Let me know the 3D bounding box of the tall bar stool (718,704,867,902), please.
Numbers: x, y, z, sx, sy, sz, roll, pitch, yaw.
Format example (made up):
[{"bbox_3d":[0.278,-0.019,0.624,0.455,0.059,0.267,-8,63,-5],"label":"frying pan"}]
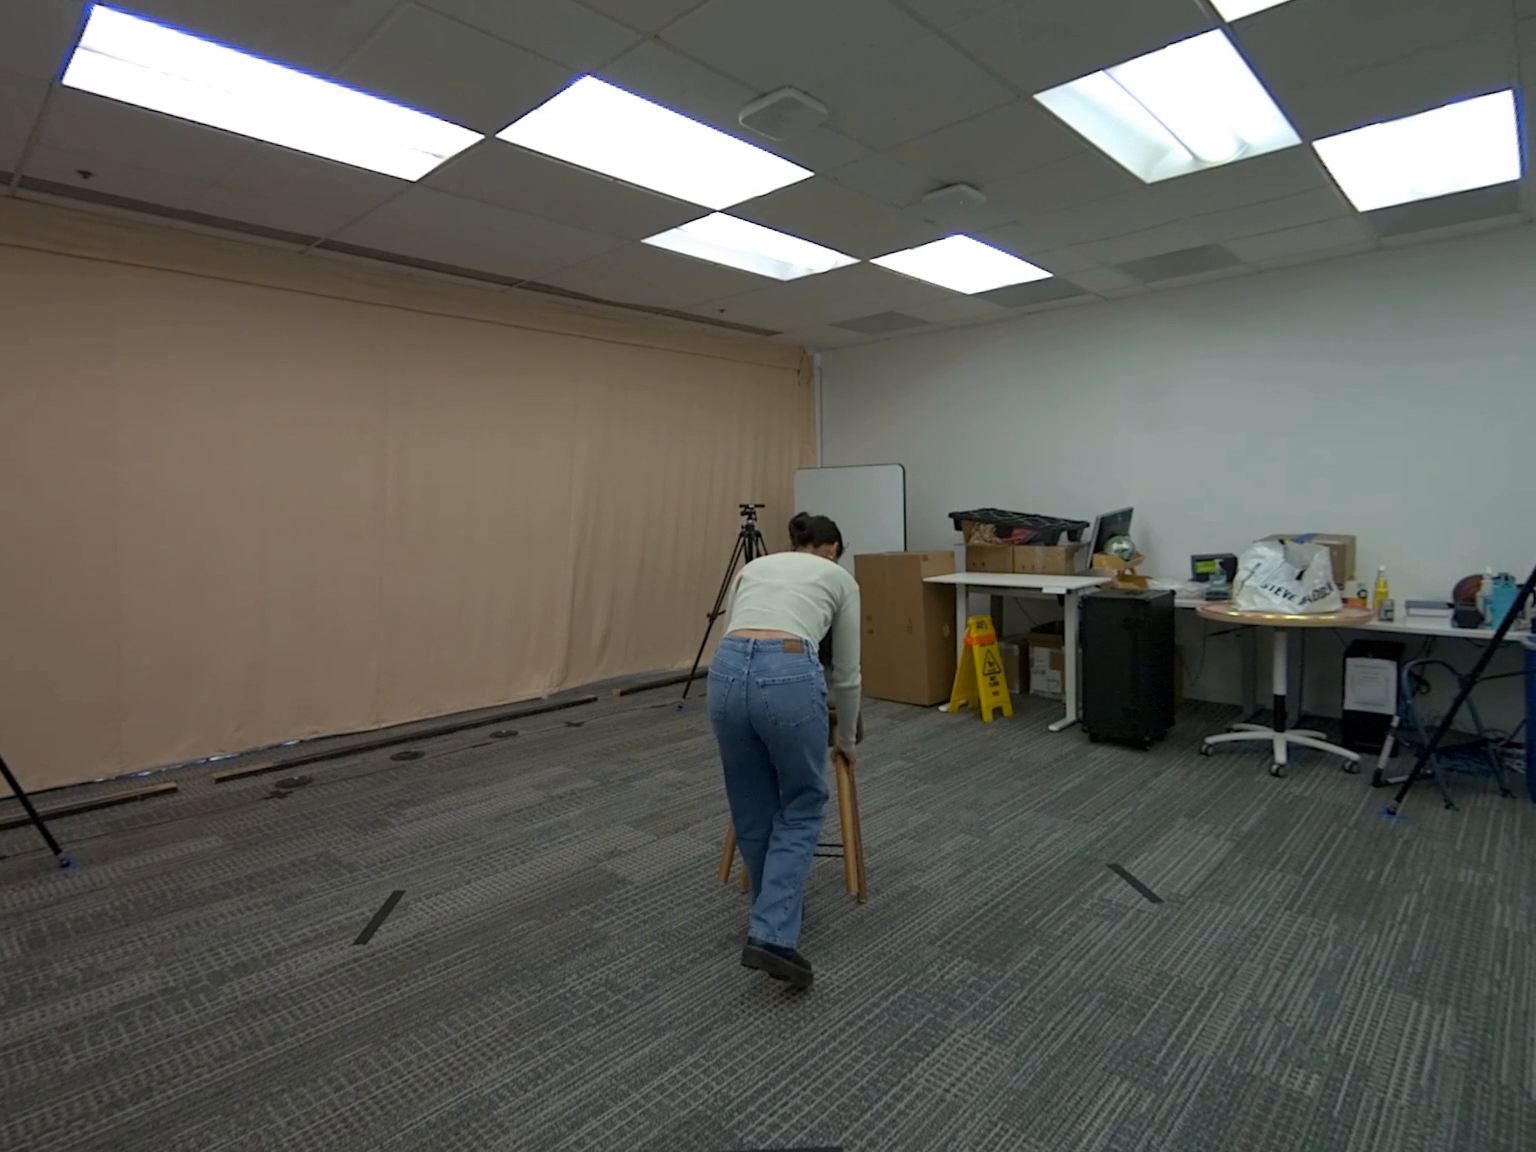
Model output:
[{"bbox_3d":[0.110,0.665,3.002,0.474,0.901,0.444,-3,-25,12],"label":"tall bar stool"}]
